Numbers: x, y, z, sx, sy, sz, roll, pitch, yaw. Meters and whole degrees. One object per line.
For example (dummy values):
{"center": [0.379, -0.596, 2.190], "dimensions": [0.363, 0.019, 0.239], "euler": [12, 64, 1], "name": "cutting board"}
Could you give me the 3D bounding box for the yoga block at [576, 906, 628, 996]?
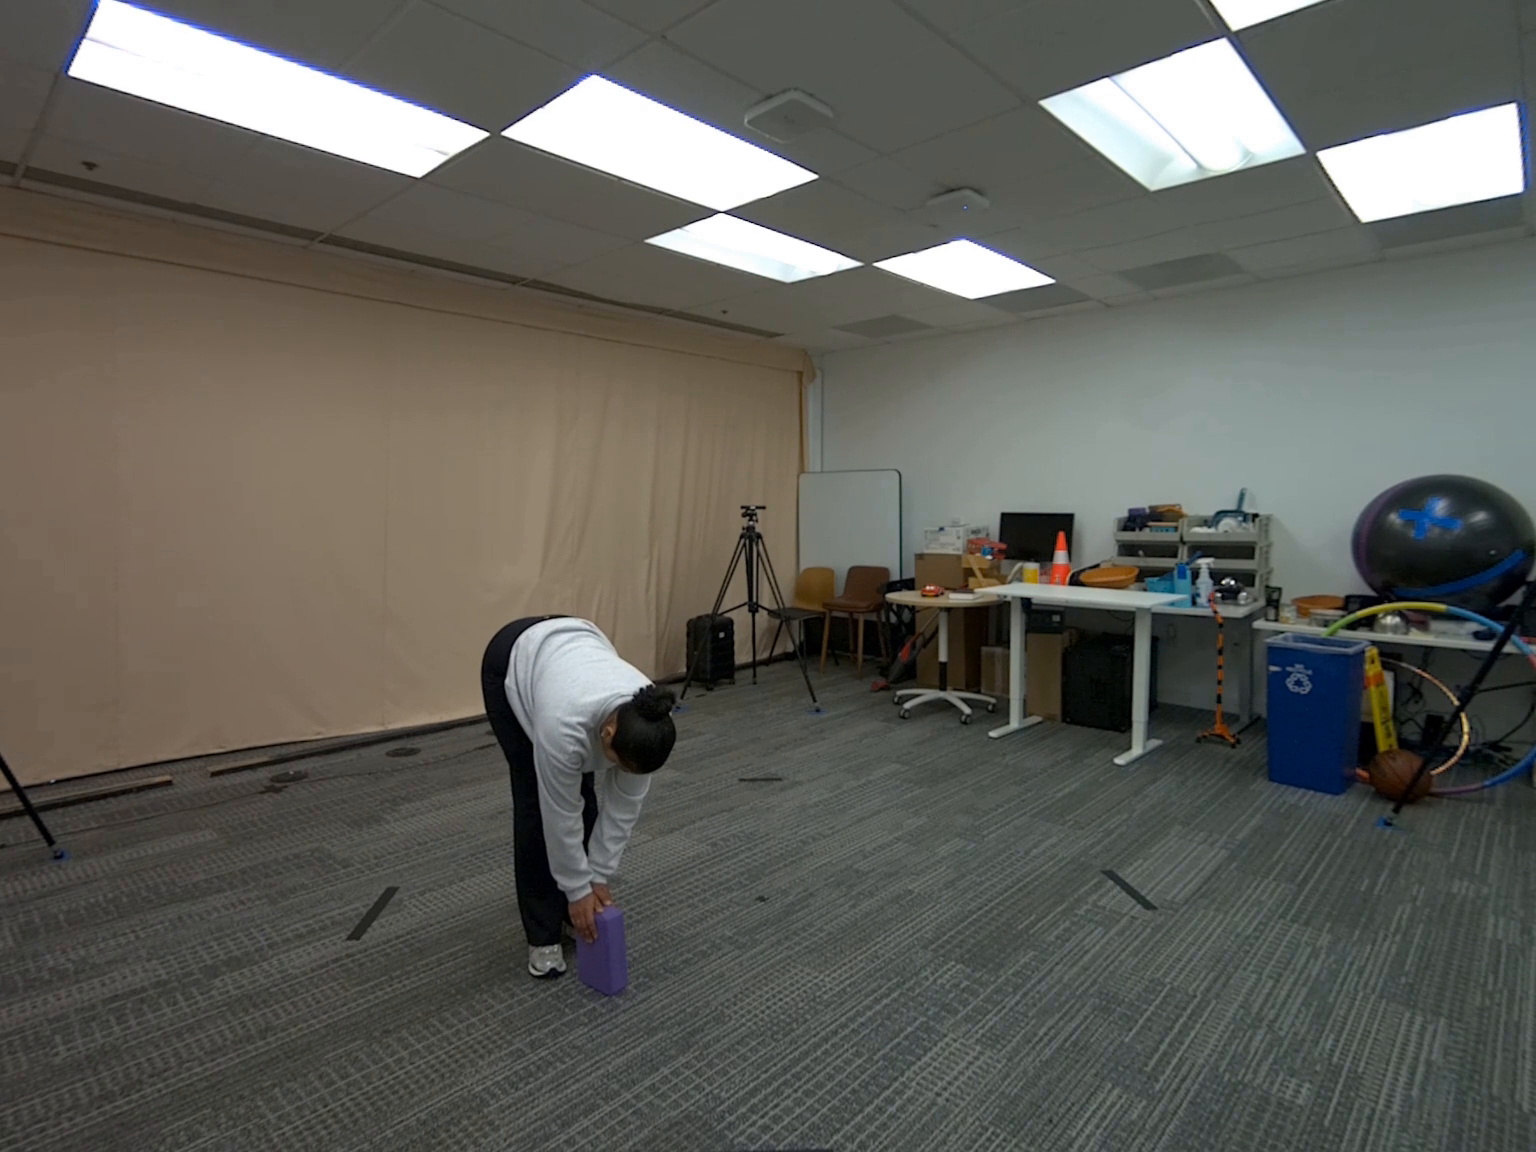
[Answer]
{"center": [-0.483, 1.074, 2.445], "dimensions": [0.154, 0.229, 0.074], "euler": [2, 6, 41], "name": "yoga block"}
